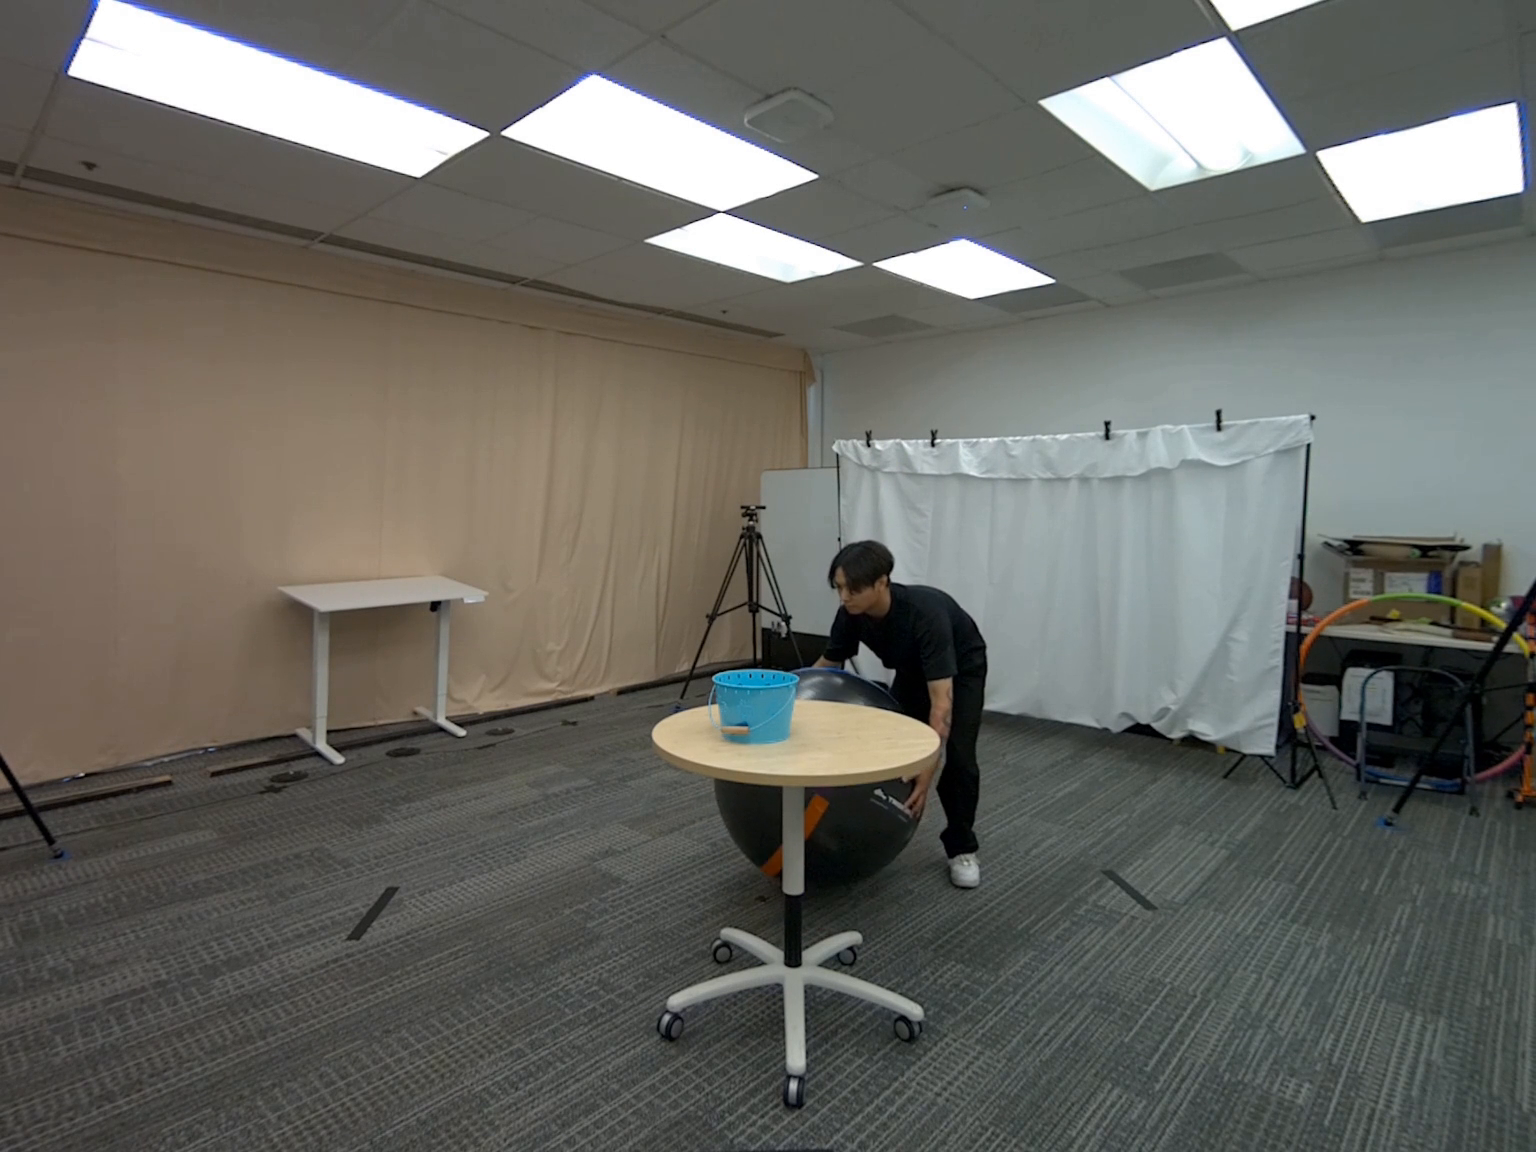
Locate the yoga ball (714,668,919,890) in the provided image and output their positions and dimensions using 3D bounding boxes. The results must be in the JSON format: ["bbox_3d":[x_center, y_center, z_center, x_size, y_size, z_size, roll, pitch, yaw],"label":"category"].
[{"bbox_3d":[0.185,0.720,3.029,0.757,0.756,0.760,0,4,-2],"label":"yoga ball"}]
